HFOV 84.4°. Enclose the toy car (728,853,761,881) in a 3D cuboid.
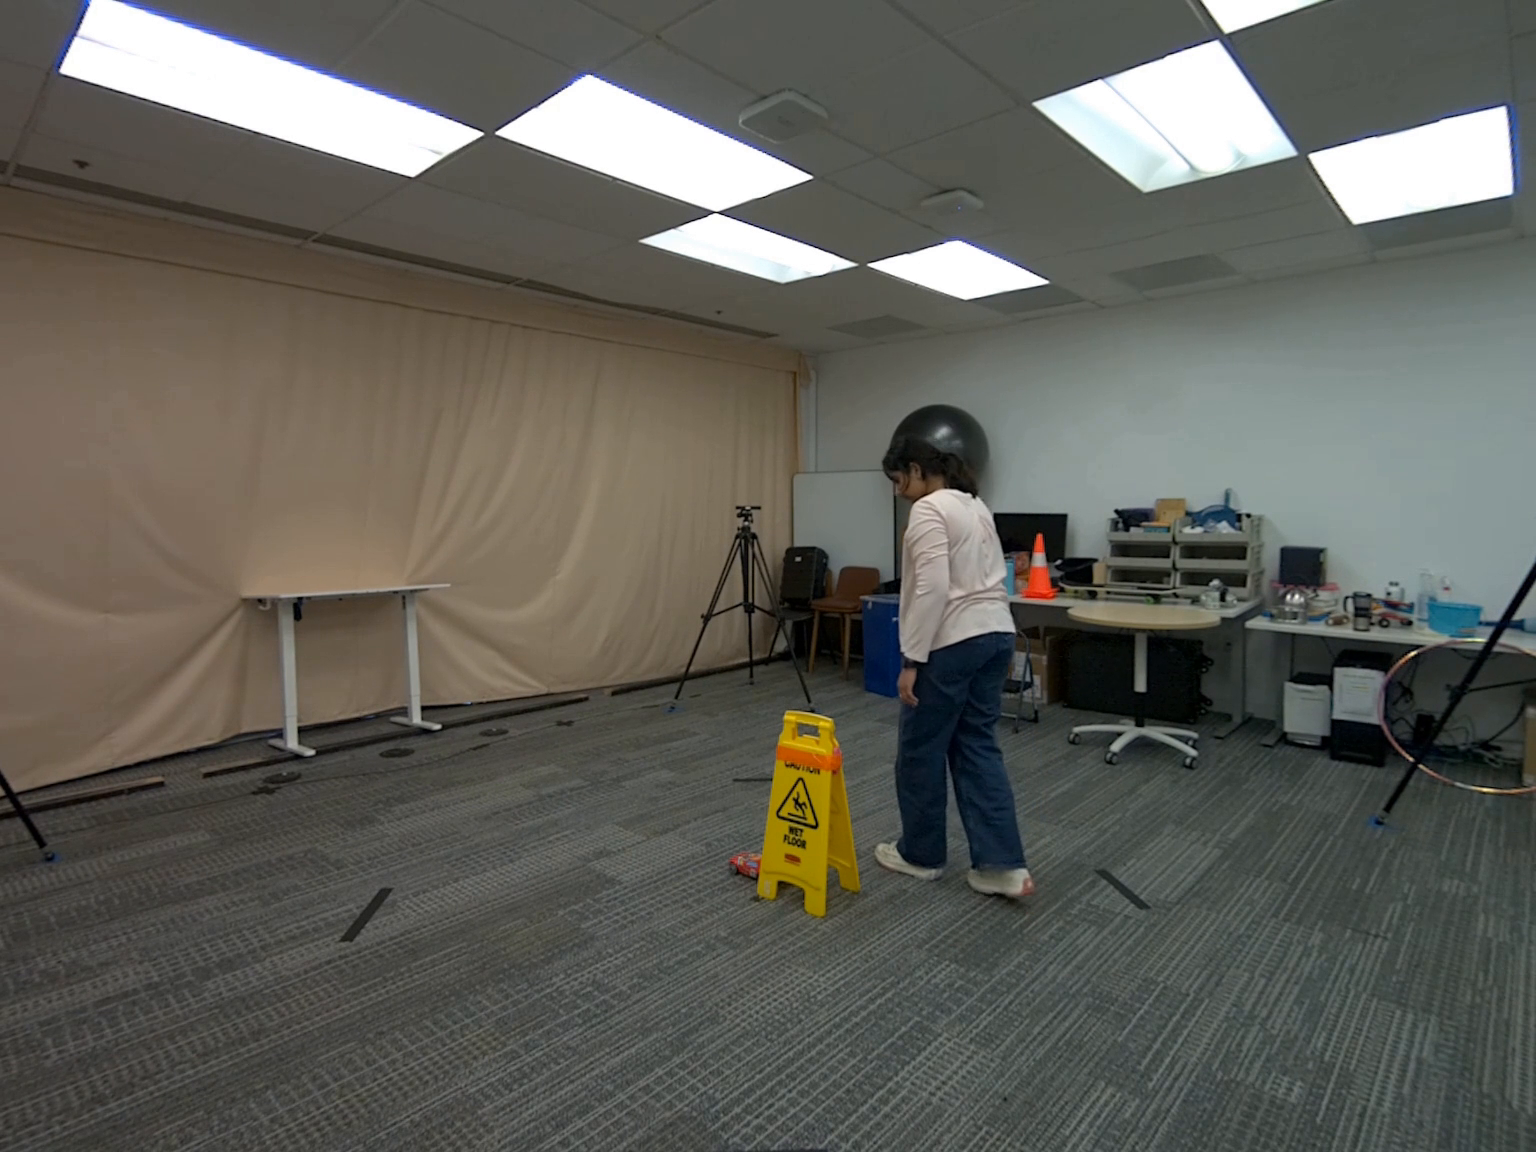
[{"bbox_3d":[-0.022,1.105,3.161,0.262,0.083,0.126,-8,-3,42],"label":"toy car"}]
